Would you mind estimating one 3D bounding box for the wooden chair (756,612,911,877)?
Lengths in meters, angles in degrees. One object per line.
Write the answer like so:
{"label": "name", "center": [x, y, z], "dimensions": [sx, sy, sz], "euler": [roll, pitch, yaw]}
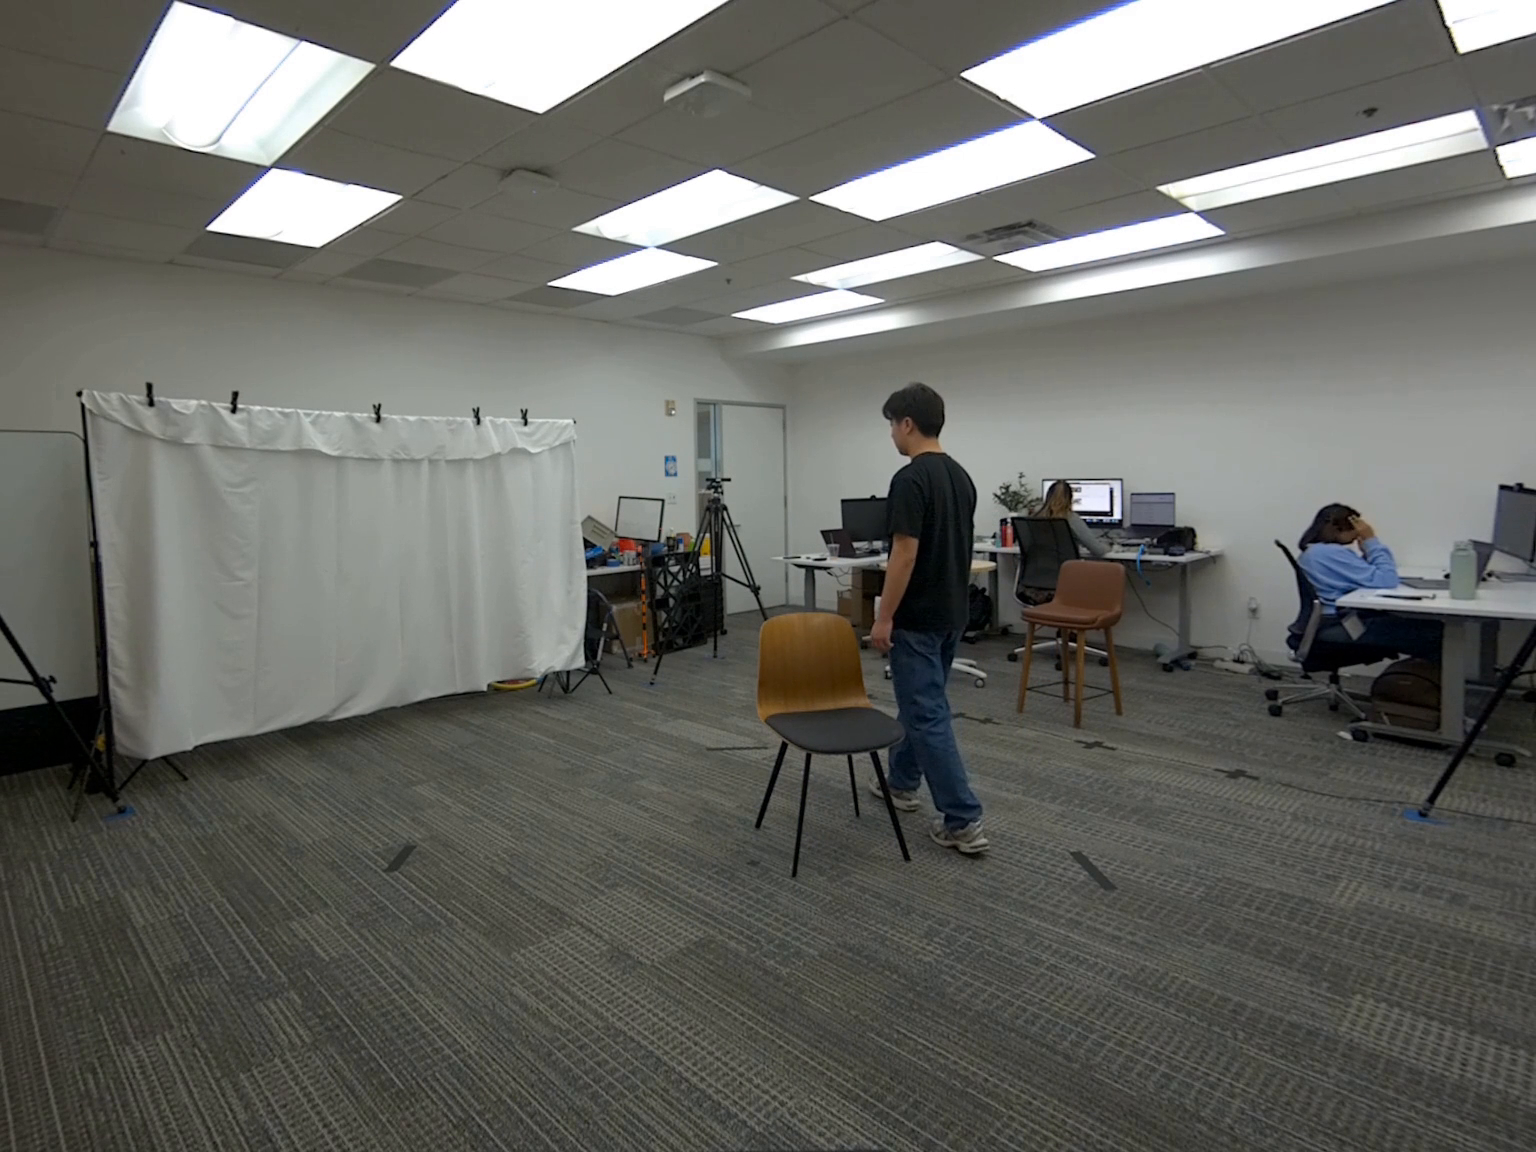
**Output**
{"label": "wooden chair", "center": [0.231, 0.597, 3.215], "dimensions": [0.471, 0.877, 0.531], "euler": [-2, 0, -17]}
